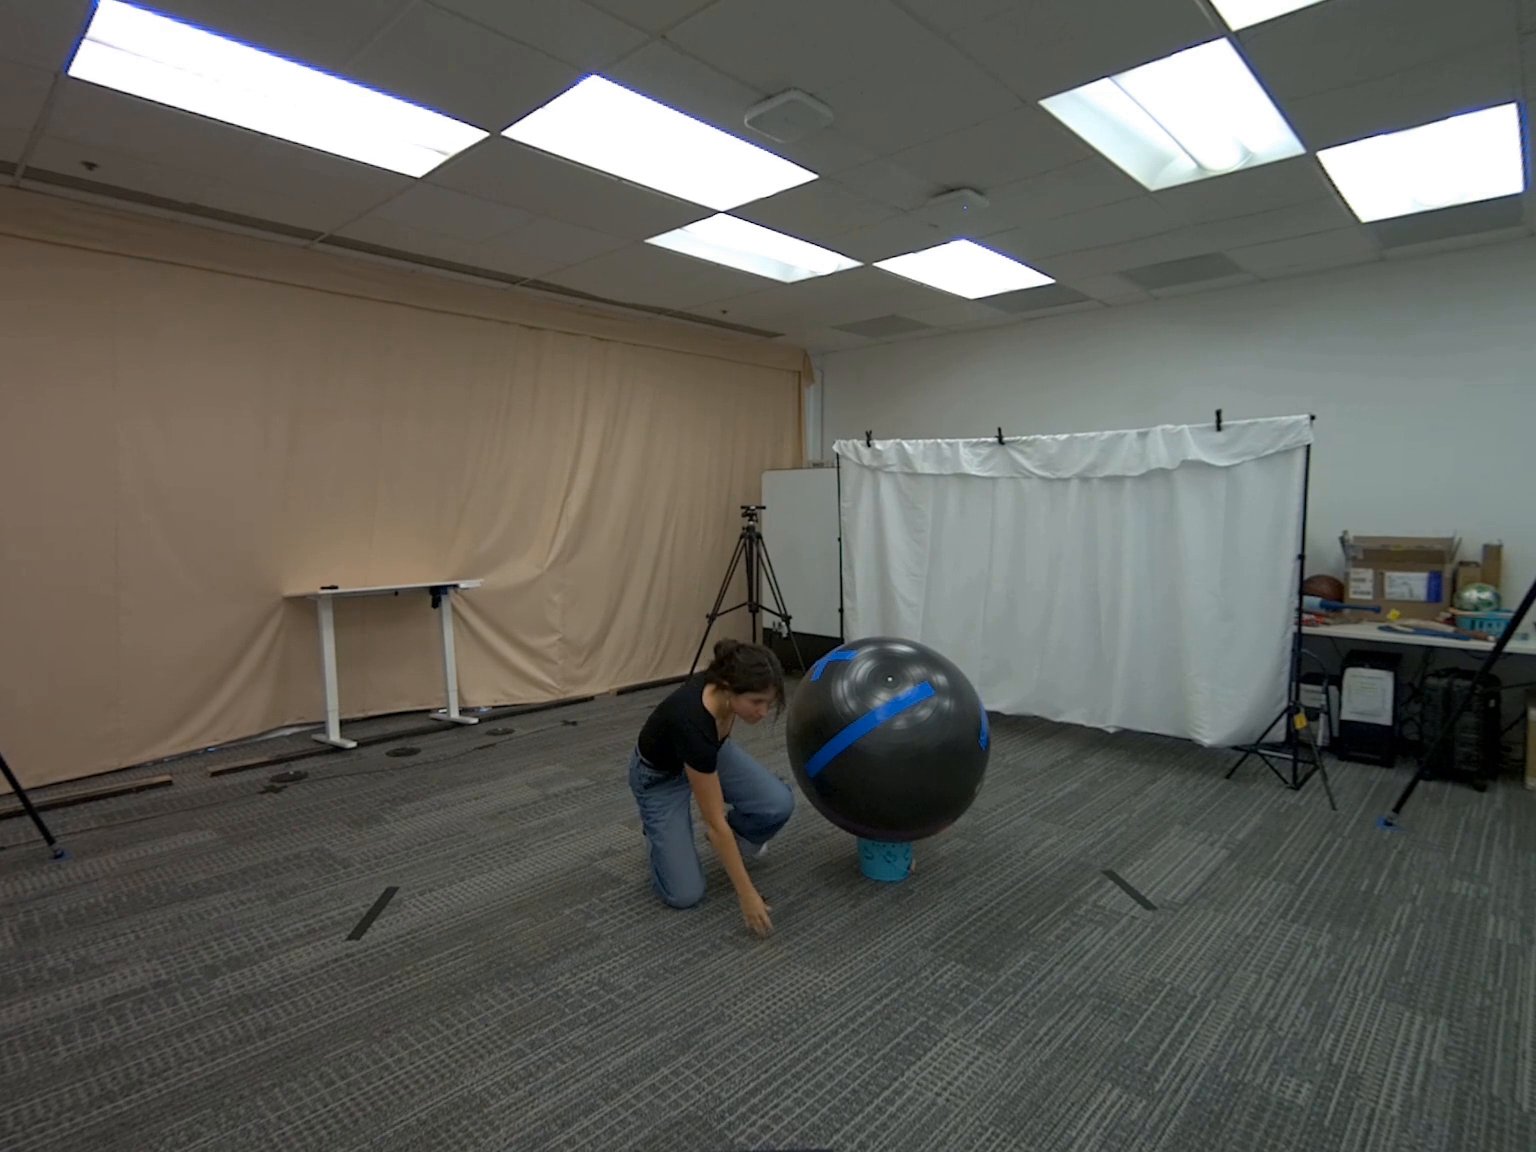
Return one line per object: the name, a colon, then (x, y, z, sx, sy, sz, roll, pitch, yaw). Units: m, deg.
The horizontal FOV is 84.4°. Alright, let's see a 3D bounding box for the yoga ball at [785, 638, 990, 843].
yoga ball: (0.457, 0.611, 3.196, 0.757, 0.756, 0.760, 0, 4, -2)
